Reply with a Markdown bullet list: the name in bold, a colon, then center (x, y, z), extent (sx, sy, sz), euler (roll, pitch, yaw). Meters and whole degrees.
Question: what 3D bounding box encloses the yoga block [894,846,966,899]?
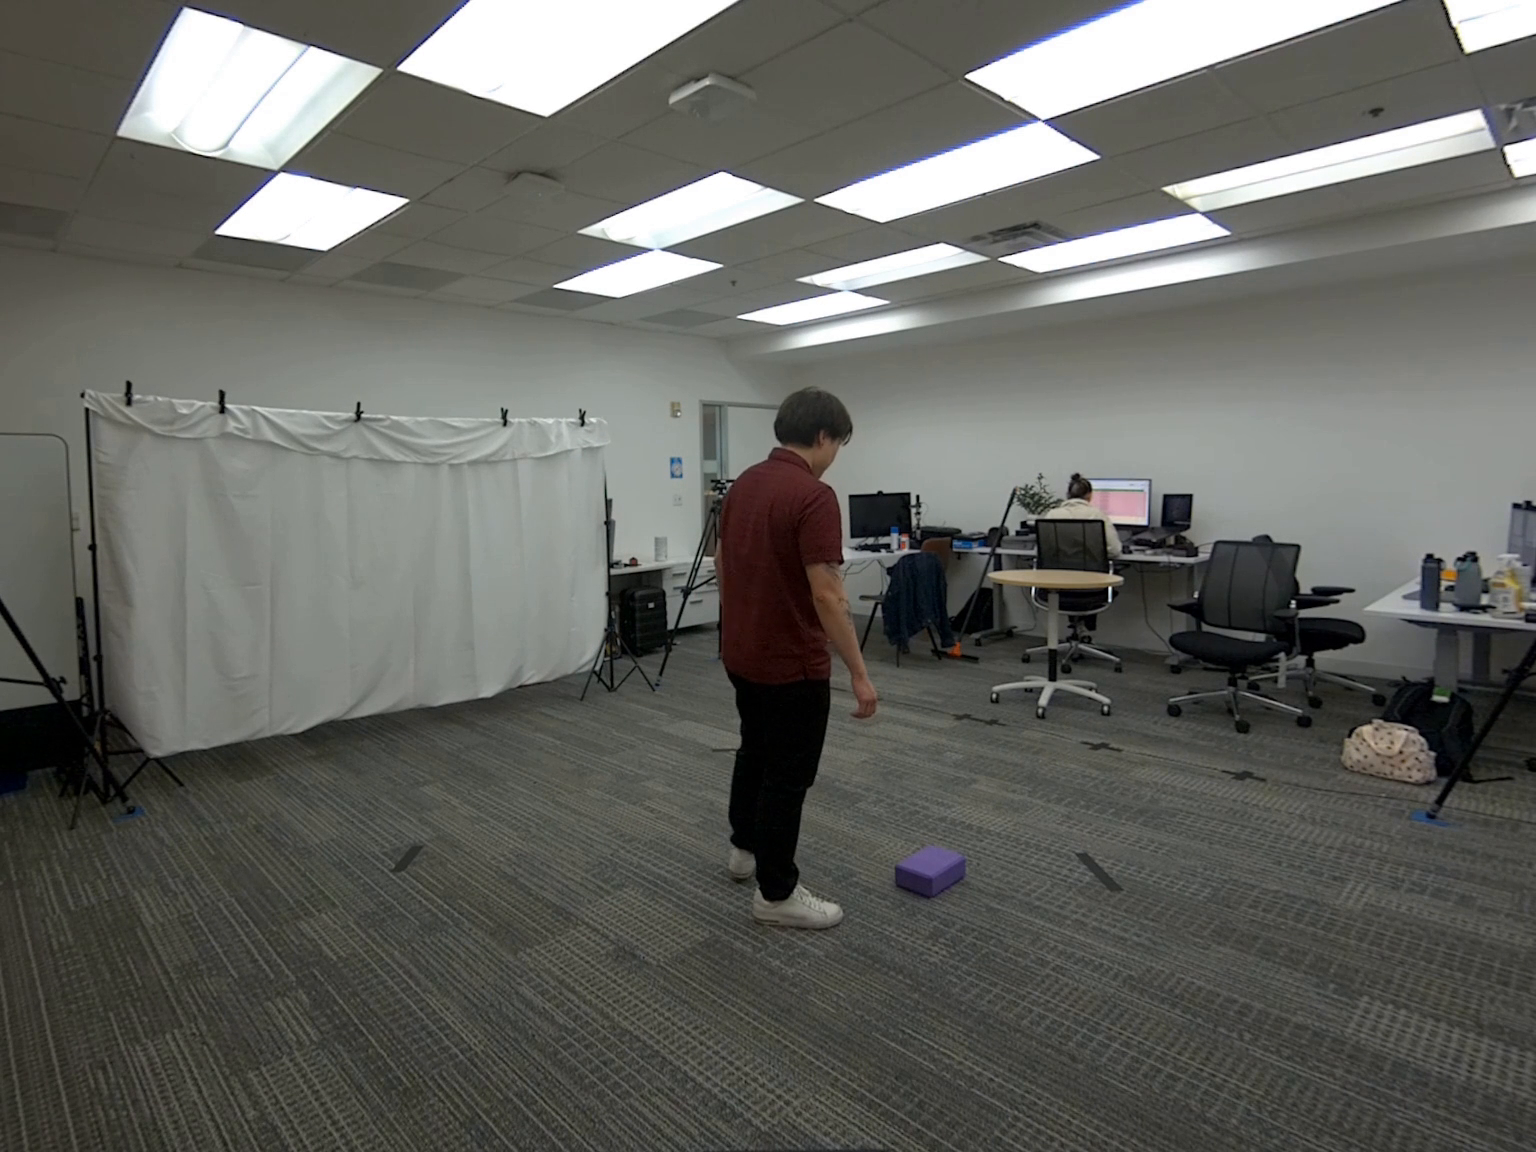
- **yoga block**: center (0.564, 1.014, 2.945), extent (0.153, 0.076, 0.223), euler (4, 7, 43)
